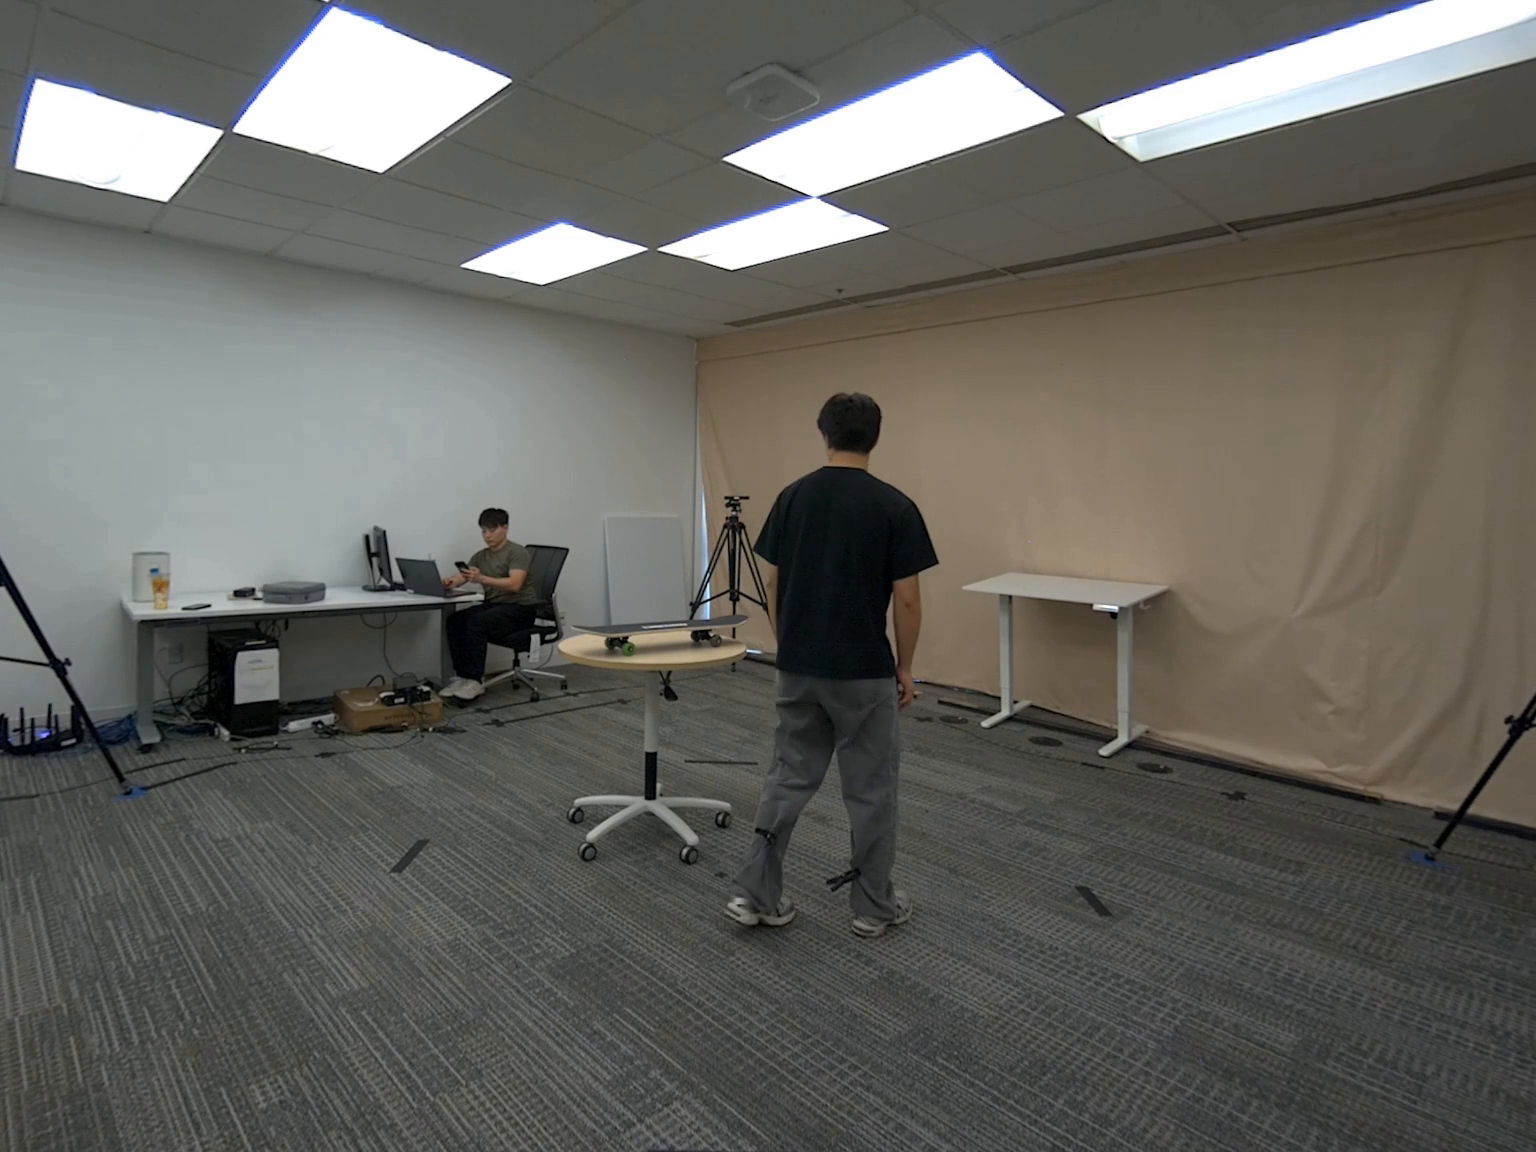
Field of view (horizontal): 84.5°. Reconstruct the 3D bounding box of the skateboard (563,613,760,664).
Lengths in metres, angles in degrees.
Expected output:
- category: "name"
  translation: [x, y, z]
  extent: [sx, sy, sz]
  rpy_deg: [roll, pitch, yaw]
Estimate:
- category: "skateboard"
  translation: [-0.411, 0.240, 3.379]
  extent: [0.768, 0.110, 0.198]
  rpy_deg: [-2, 6, -35]
